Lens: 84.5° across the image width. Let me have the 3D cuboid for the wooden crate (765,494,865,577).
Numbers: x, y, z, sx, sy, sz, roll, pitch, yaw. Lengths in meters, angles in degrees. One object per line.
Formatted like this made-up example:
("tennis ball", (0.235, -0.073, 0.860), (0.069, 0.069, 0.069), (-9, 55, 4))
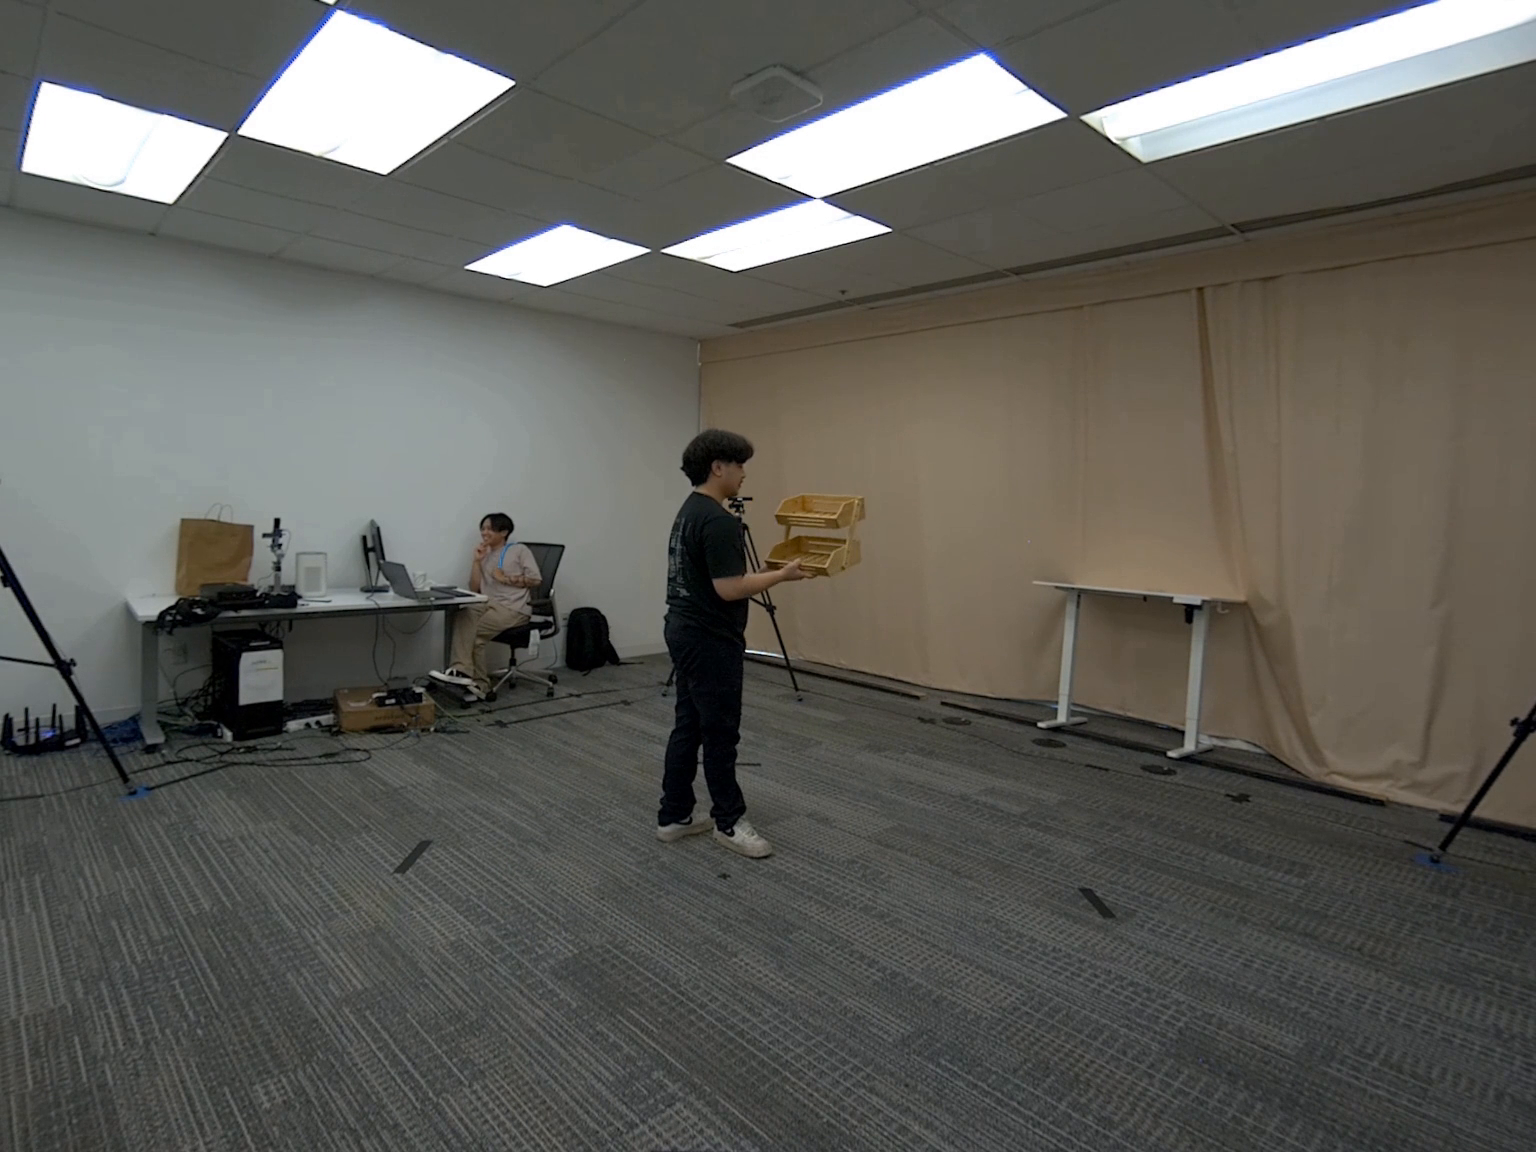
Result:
("wooden crate", (0.176, -0.174, 3.398), (0.333, 0.270, 0.298), (6, 19, 38))
